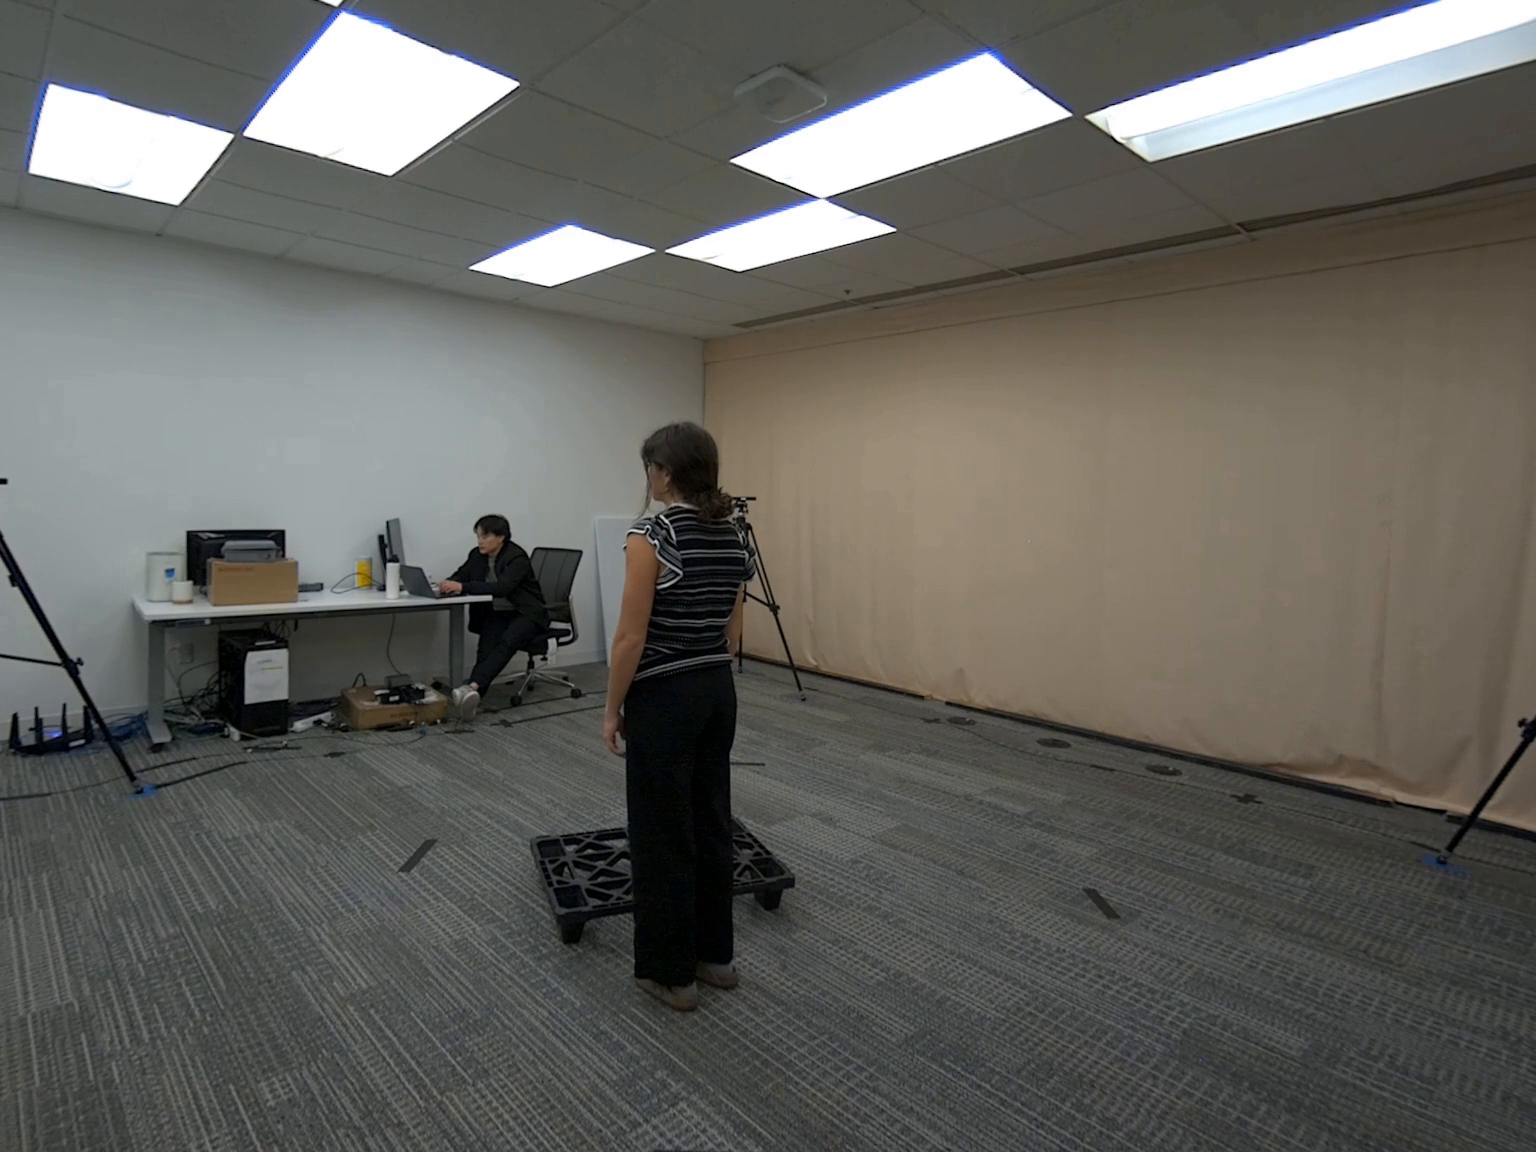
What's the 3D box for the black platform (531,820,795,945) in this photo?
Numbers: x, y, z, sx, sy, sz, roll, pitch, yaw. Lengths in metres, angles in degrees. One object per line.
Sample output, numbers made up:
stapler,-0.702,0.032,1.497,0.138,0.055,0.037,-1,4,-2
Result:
black platform,-0.400,1.049,2.947,0.792,0.143,0.616,0,5,-22
